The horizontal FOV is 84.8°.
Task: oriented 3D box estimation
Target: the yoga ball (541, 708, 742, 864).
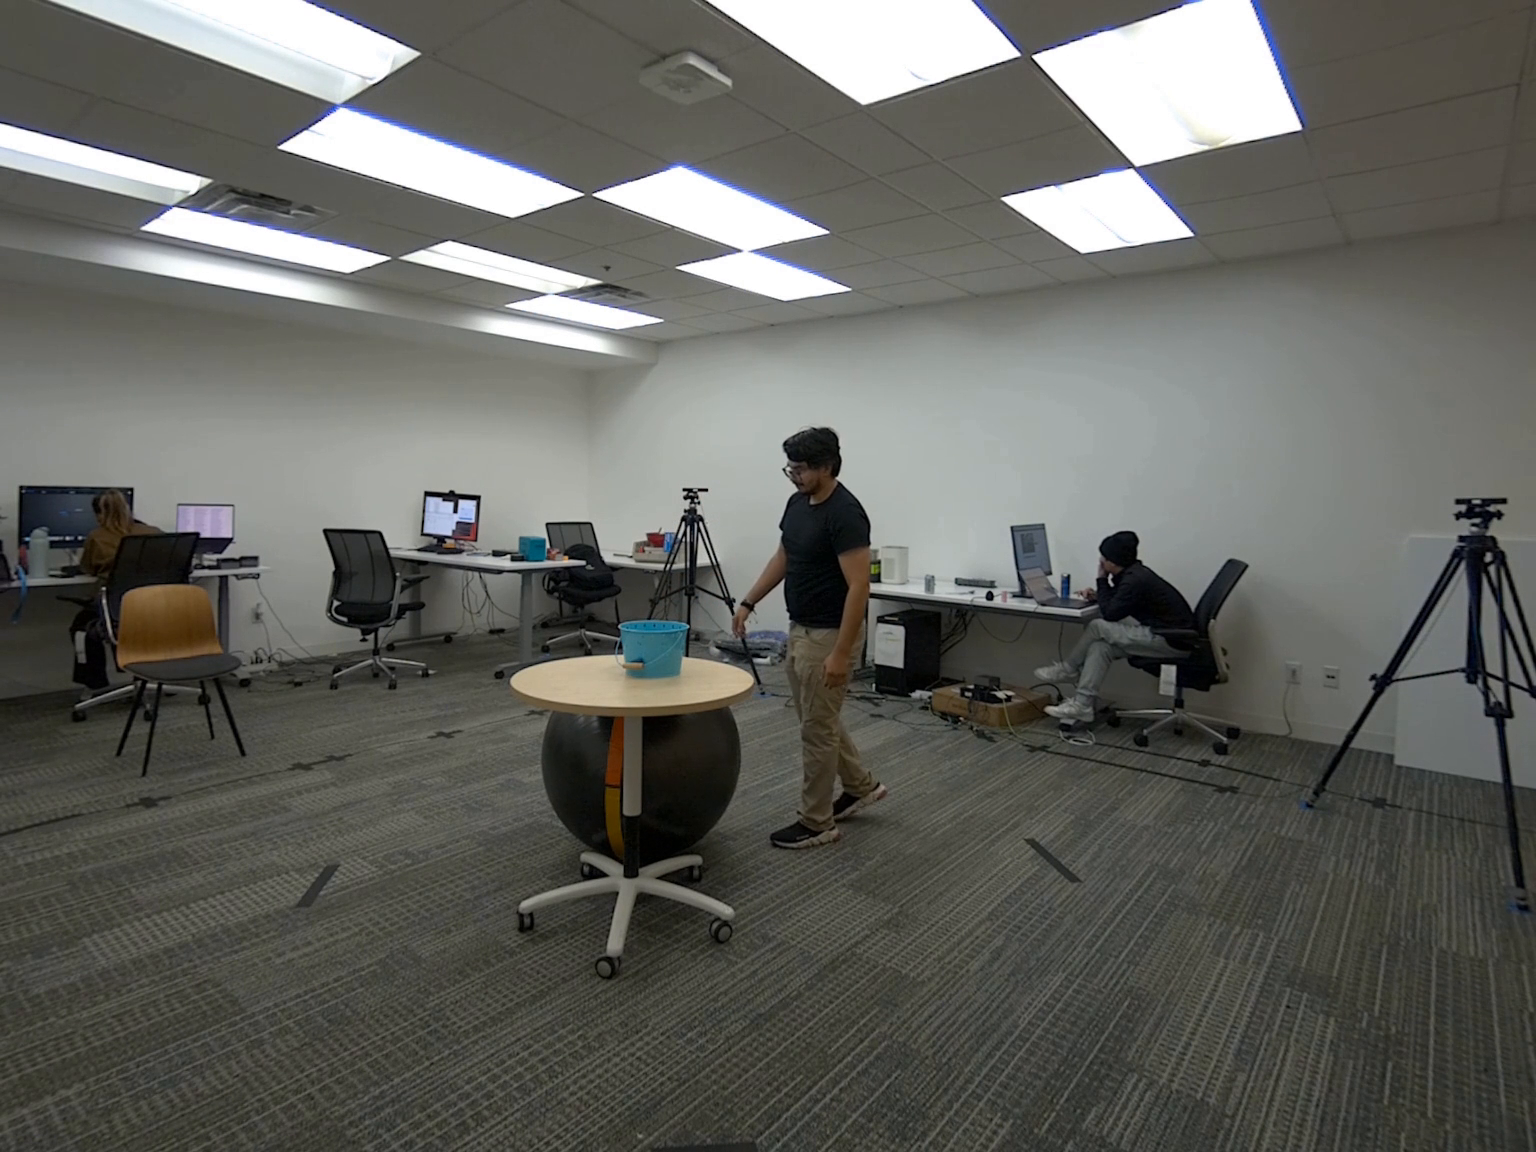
[{"bbox_3d":[-0.499,0.689,3.263,0.757,0.755,0.762,1,4,-2],"label":"yoga ball"}]
